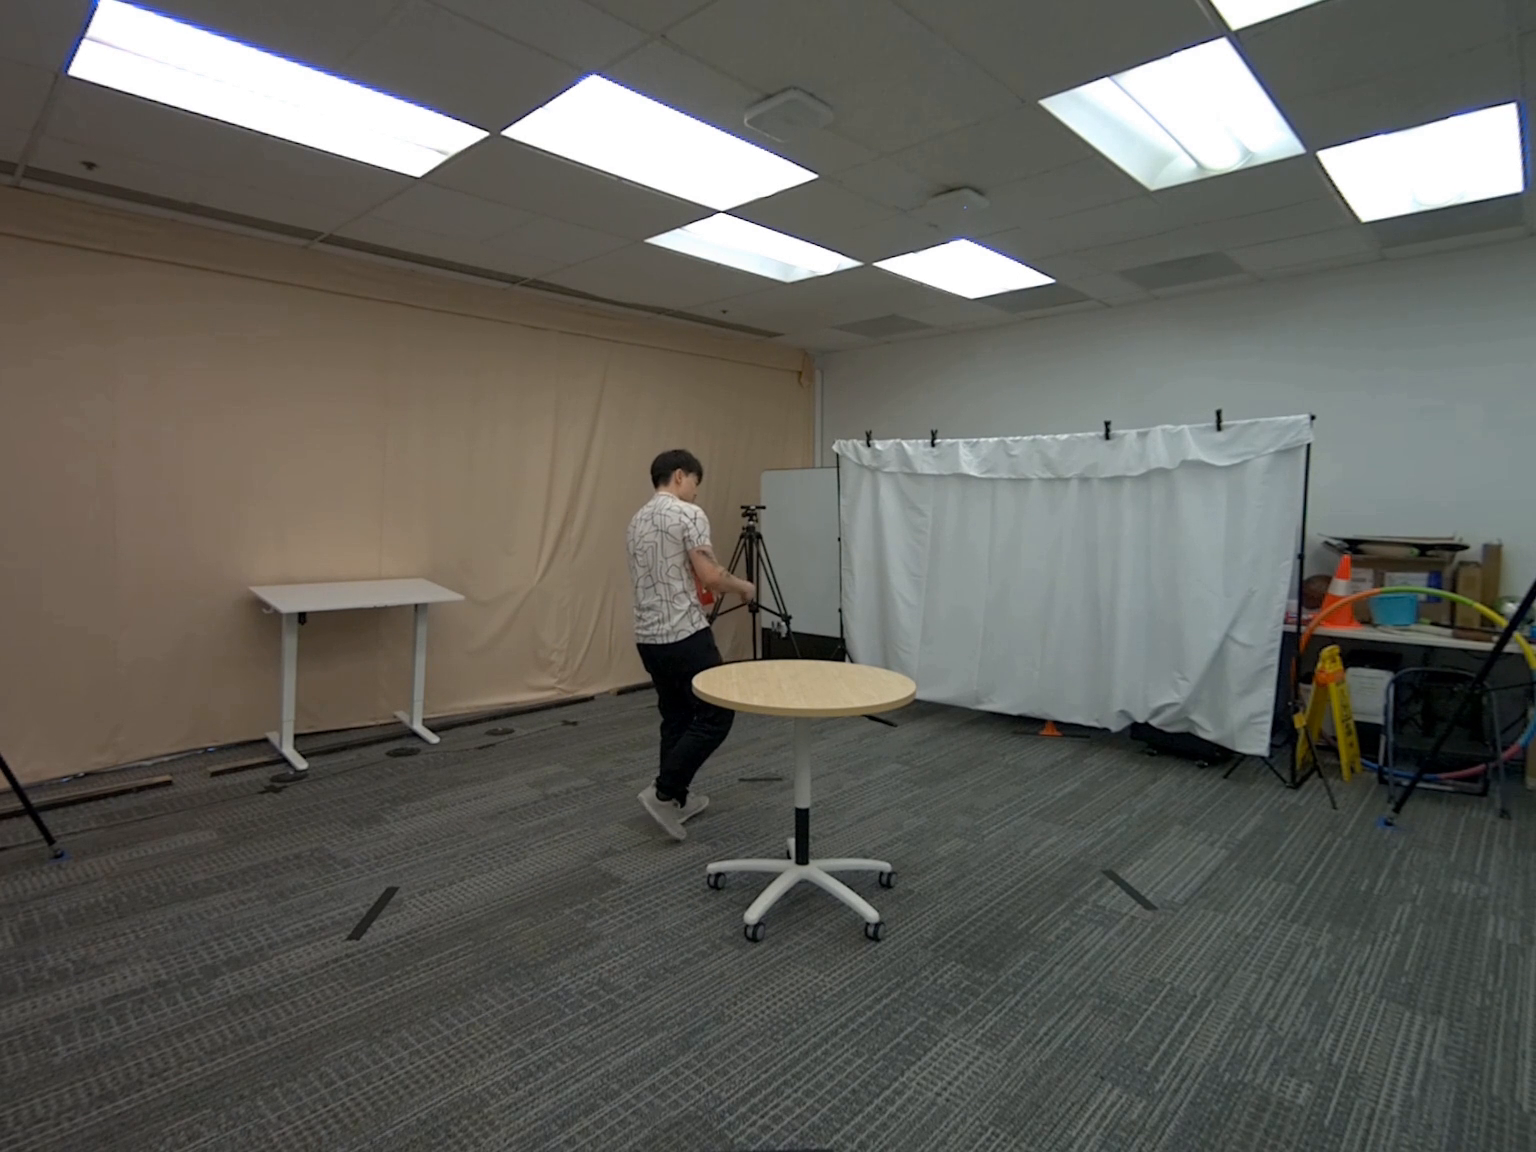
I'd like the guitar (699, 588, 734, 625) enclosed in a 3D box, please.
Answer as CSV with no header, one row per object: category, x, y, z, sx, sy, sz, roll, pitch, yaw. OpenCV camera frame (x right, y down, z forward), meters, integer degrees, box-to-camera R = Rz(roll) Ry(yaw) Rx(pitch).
guitar,-0.243,0.069,3.755,0.071,0.195,0.490,-15,-14,2
